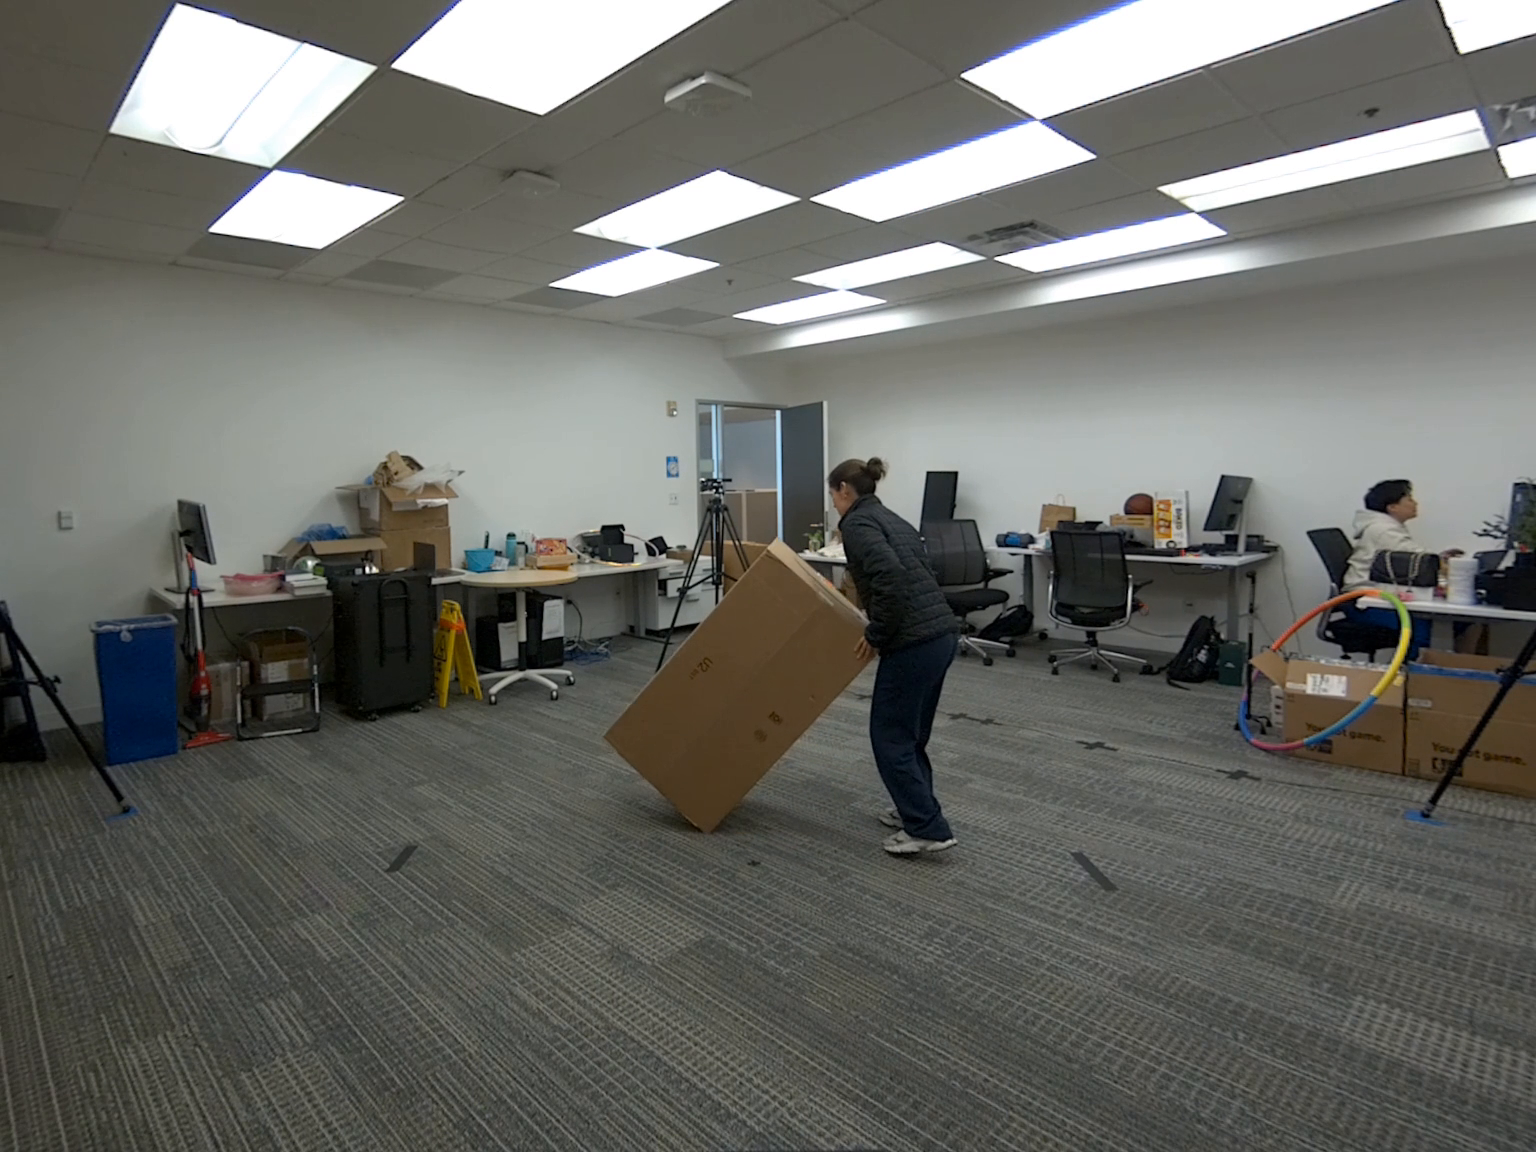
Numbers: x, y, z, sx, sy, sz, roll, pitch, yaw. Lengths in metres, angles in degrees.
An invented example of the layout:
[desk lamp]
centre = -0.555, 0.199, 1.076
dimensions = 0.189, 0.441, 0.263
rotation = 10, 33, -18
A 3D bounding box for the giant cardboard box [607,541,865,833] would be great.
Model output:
[giant cardboard box]
centre = -0.097, 0.428, 3.518
dimensions = 0.587, 1.026, 0.445
rotation = 42, 10, 3
